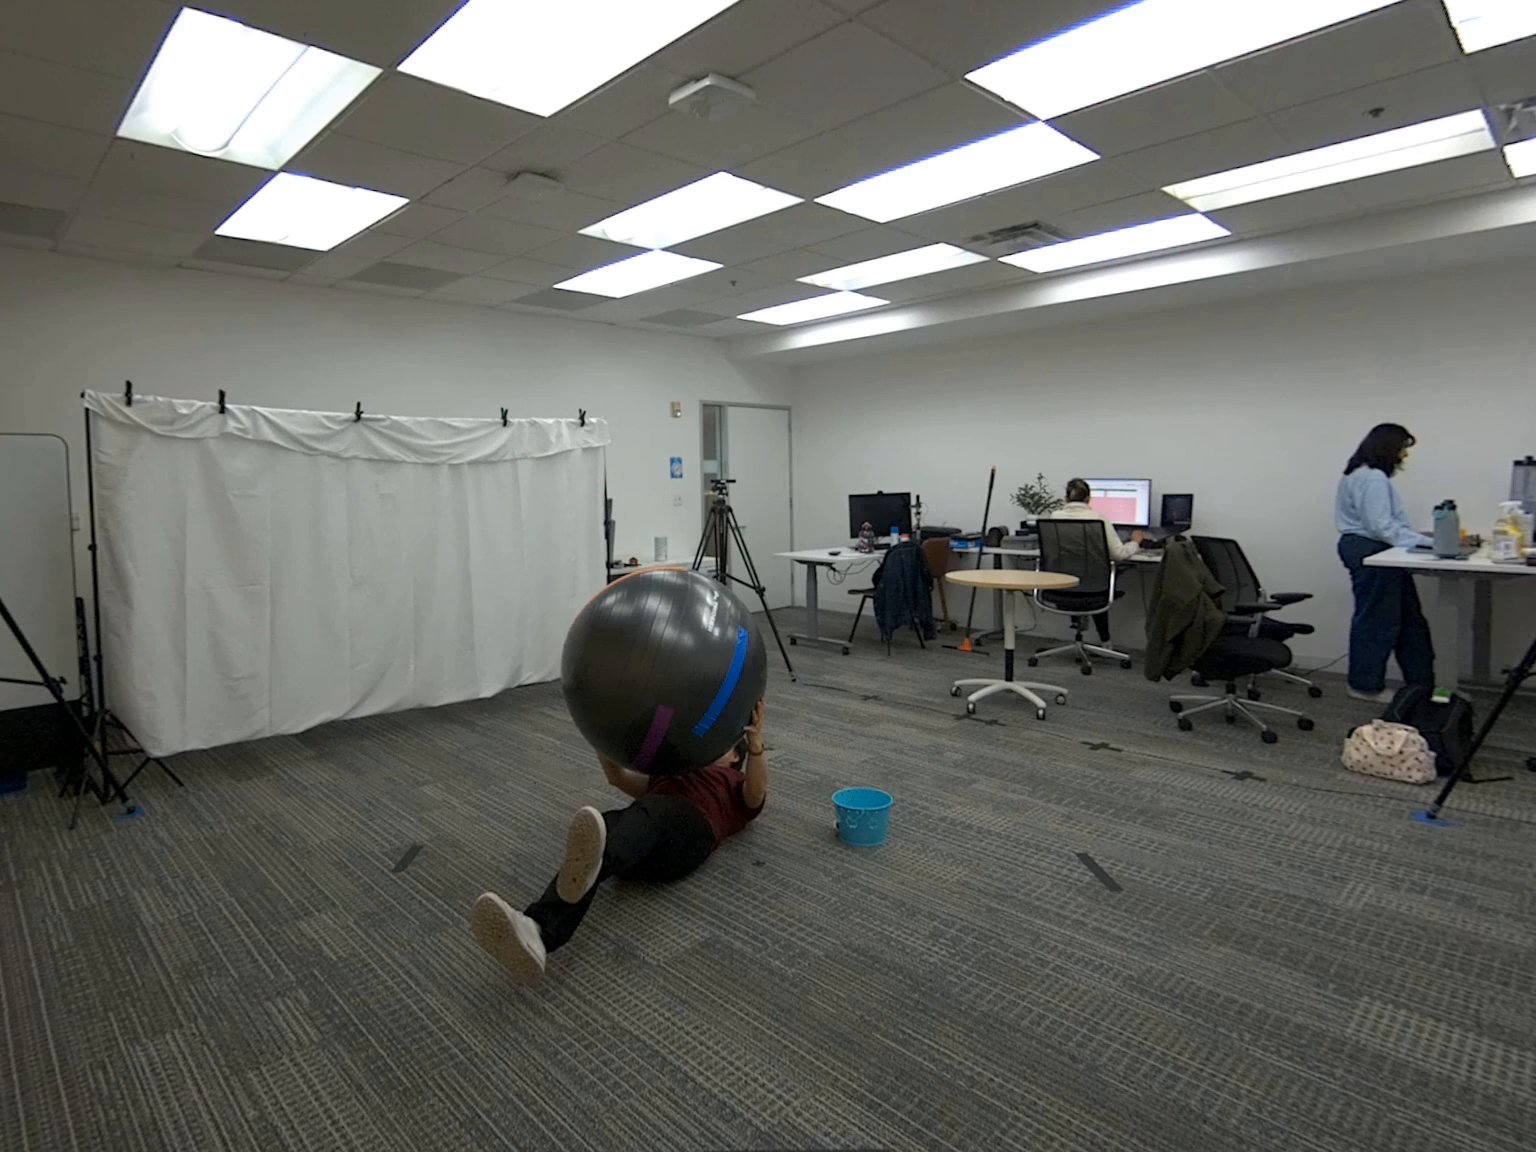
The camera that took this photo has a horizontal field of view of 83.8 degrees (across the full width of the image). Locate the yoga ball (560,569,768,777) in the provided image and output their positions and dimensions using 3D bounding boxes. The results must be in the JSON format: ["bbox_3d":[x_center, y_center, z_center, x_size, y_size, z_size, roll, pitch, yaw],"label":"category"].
[{"bbox_3d":[-0.385,0.347,3.169,0.757,0.755,0.762,-1,5,-2],"label":"yoga ball"}]
